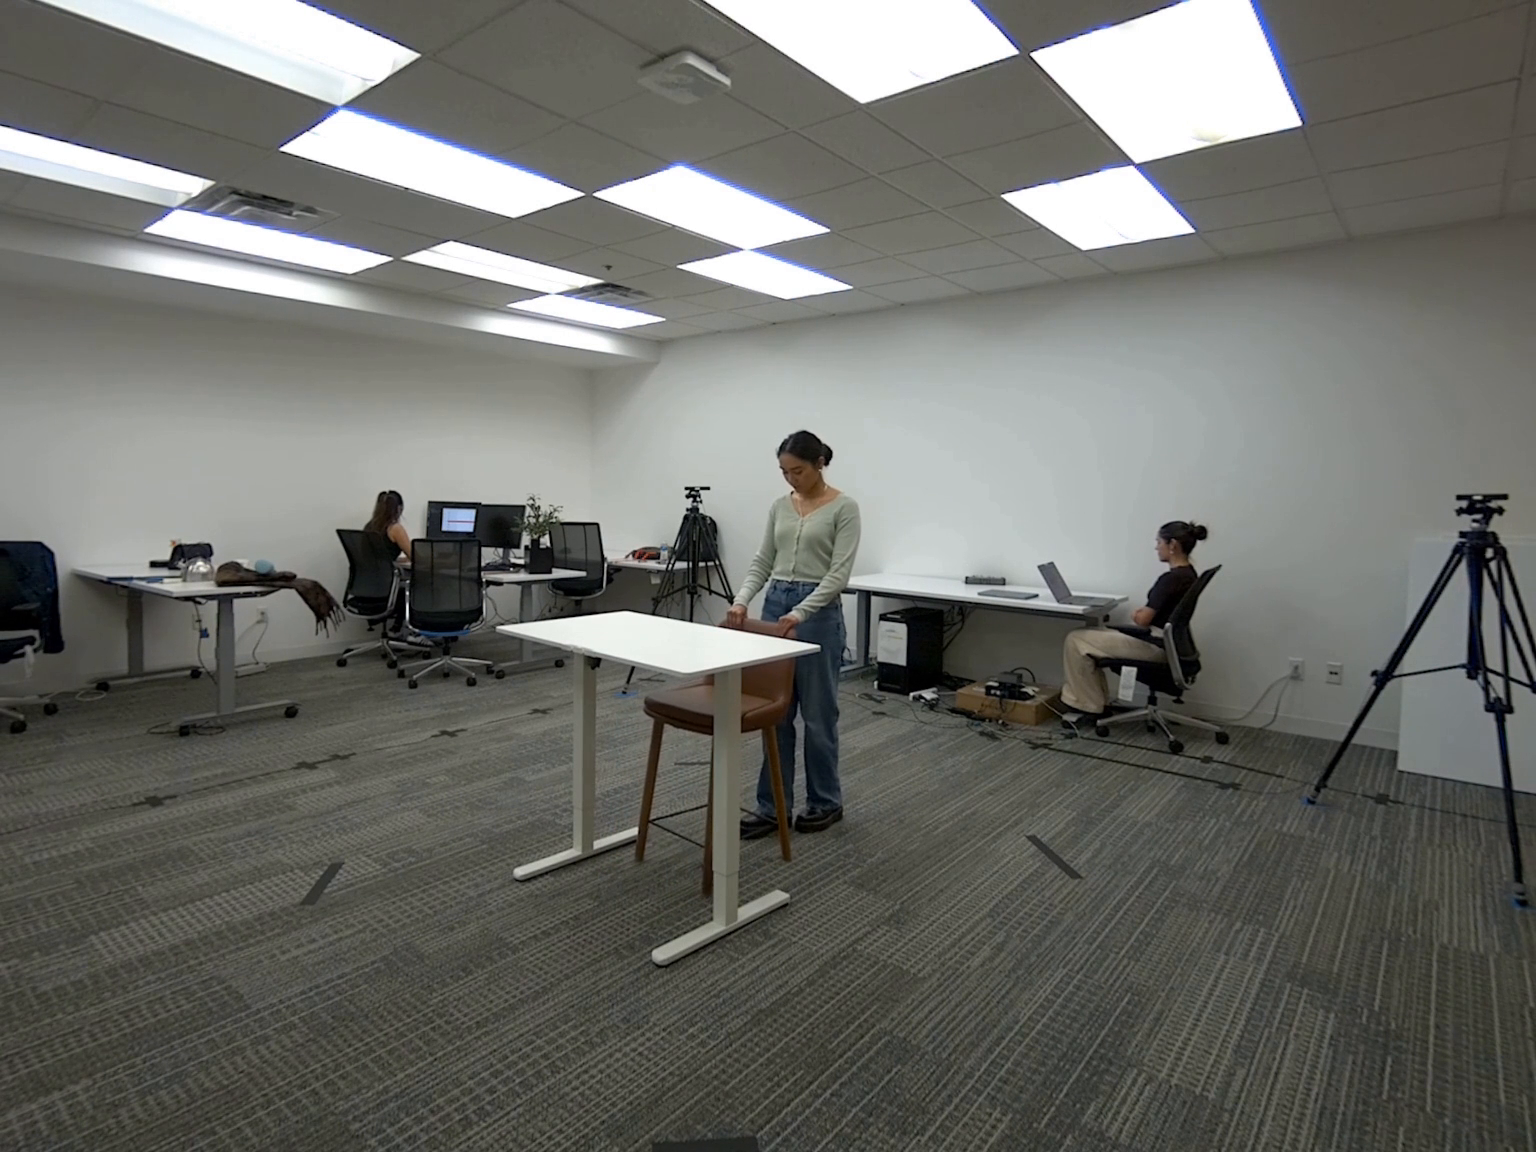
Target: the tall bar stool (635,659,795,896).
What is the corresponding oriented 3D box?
[{"bbox_3d":[-0.192,0.620,3.168,0.452,0.889,0.472,2,1,-44],"label":"tall bar stool"}]
